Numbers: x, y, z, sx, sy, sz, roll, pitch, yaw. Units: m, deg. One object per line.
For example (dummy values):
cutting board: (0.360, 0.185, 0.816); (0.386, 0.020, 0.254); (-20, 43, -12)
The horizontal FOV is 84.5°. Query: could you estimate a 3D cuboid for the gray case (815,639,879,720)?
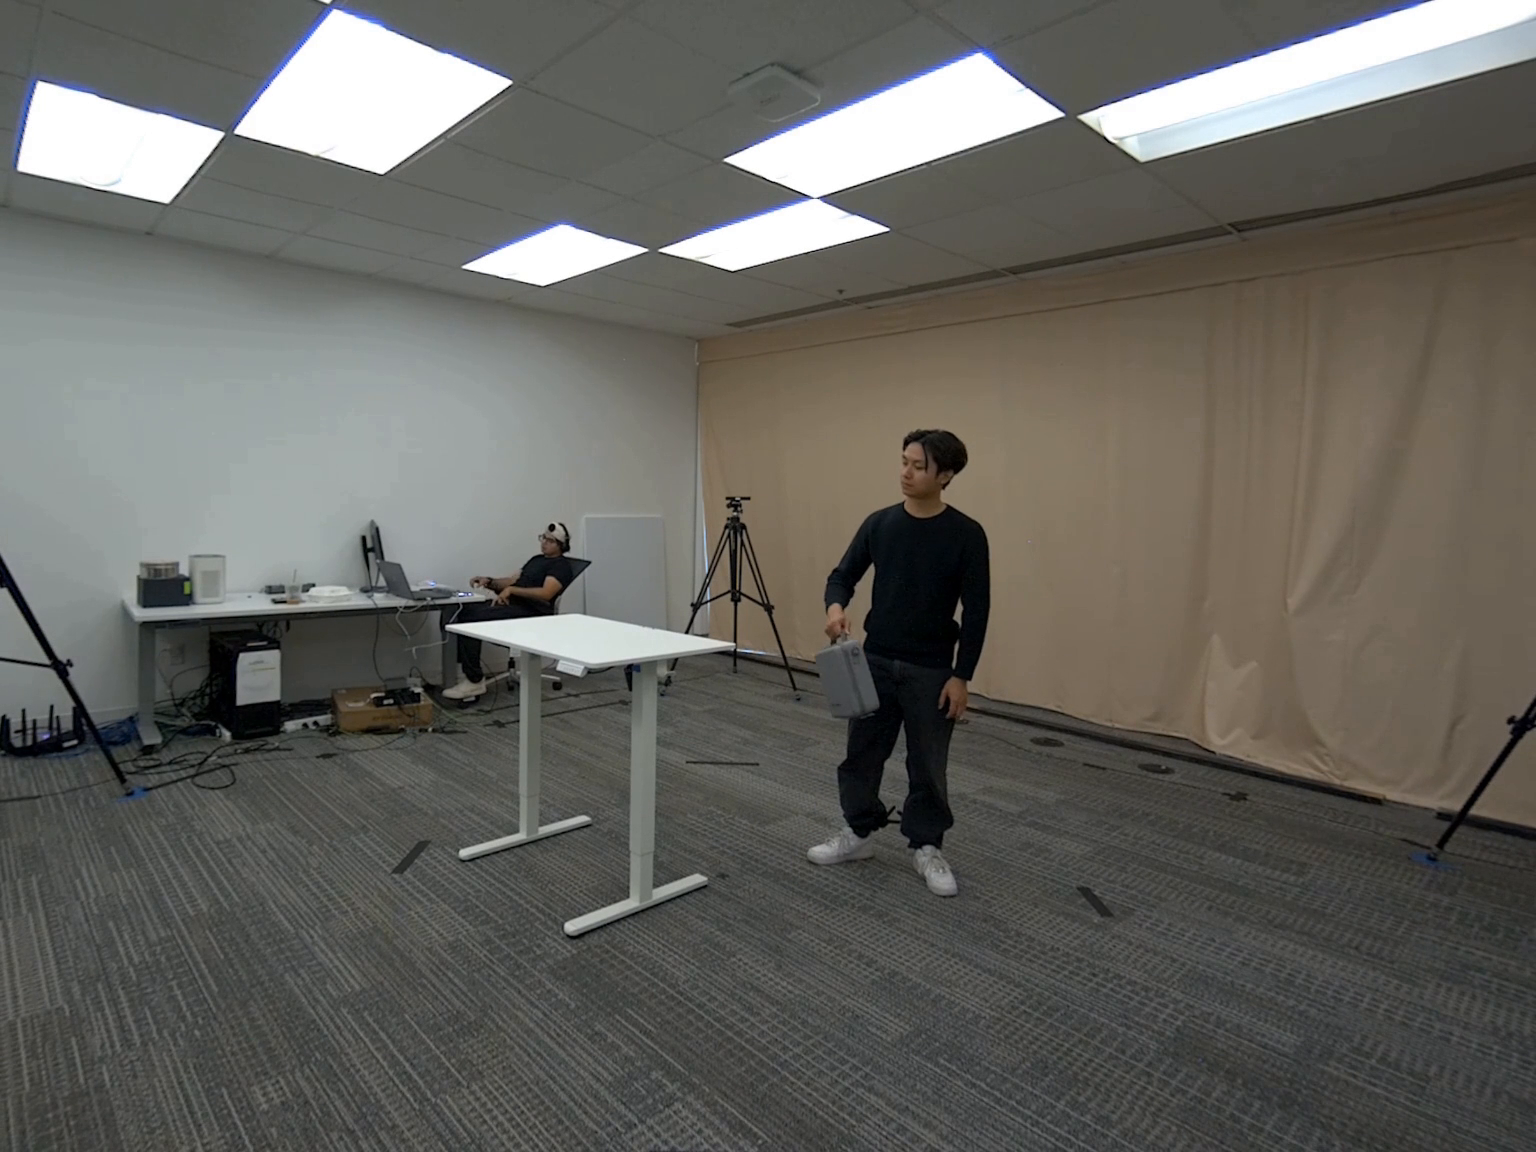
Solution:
gray case: (0.268, 0.361, 2.956); (0.103, 0.263, 0.256); (-12, -8, -12)
